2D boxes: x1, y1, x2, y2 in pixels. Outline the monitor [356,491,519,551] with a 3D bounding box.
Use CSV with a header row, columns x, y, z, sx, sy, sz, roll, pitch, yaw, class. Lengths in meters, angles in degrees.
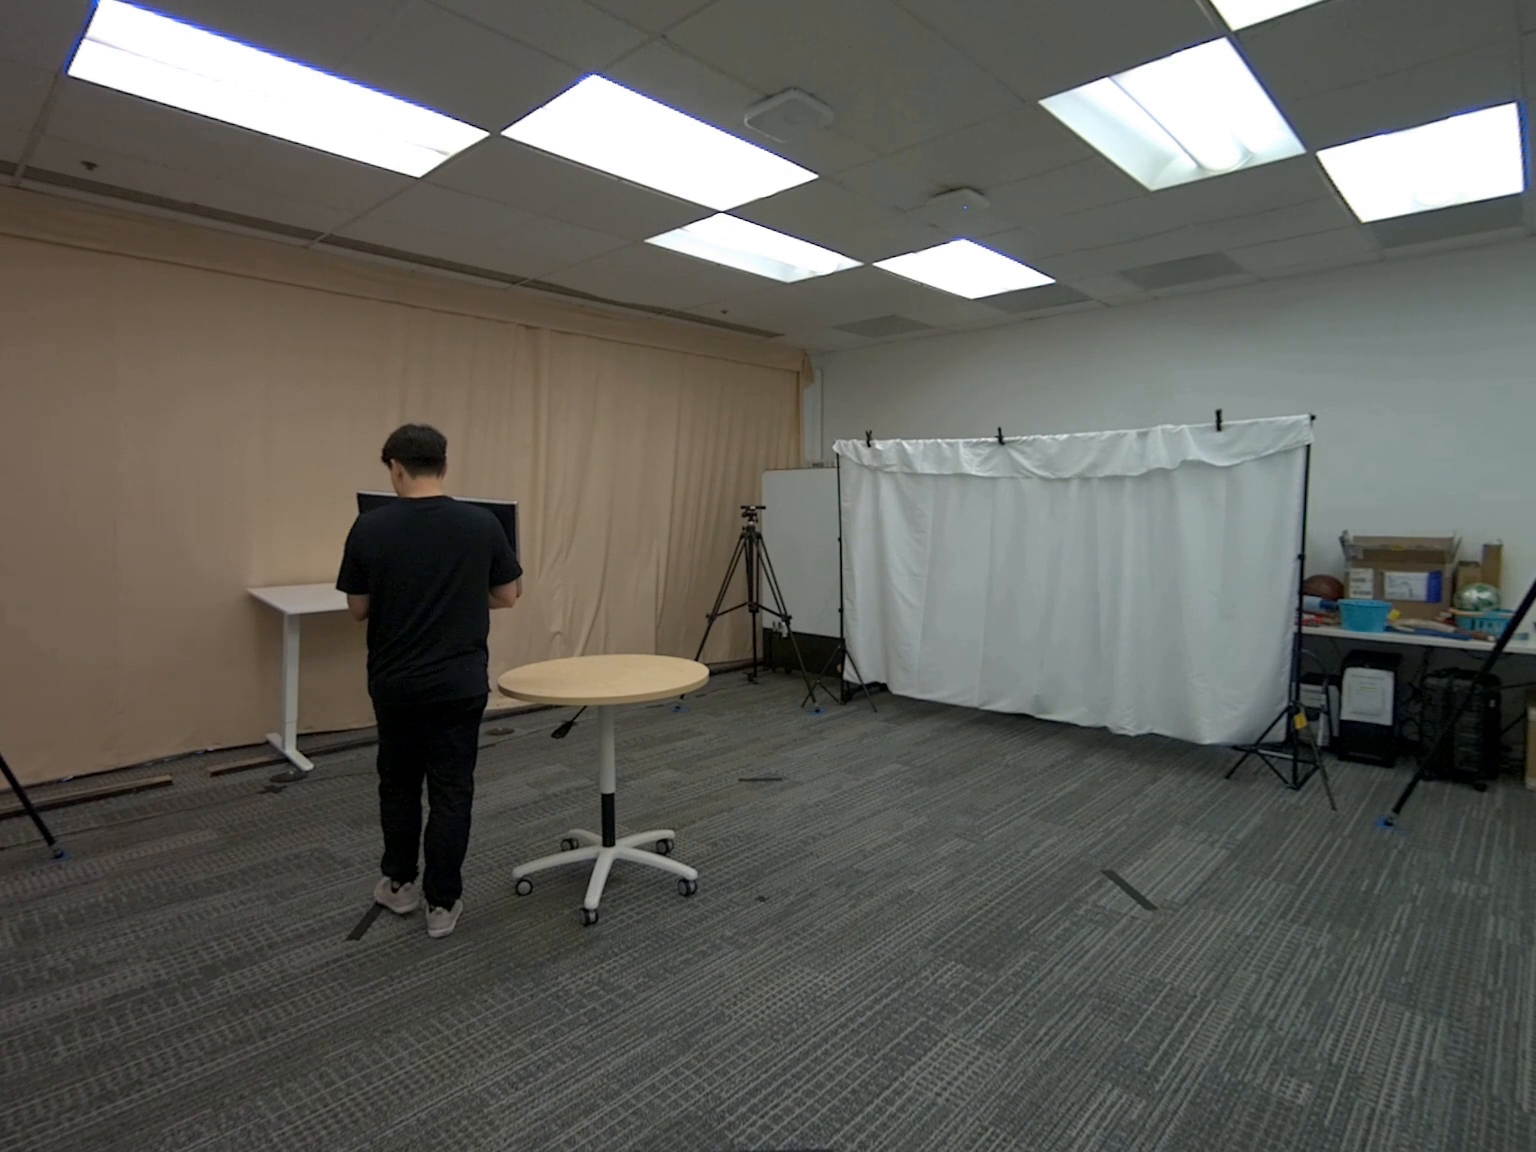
x,y,z,sx,sy,sz,roll,pitch,yaw,class
-1.173,-0.010,2.941,0.539,0.519,0.188,4,11,0,monitor
